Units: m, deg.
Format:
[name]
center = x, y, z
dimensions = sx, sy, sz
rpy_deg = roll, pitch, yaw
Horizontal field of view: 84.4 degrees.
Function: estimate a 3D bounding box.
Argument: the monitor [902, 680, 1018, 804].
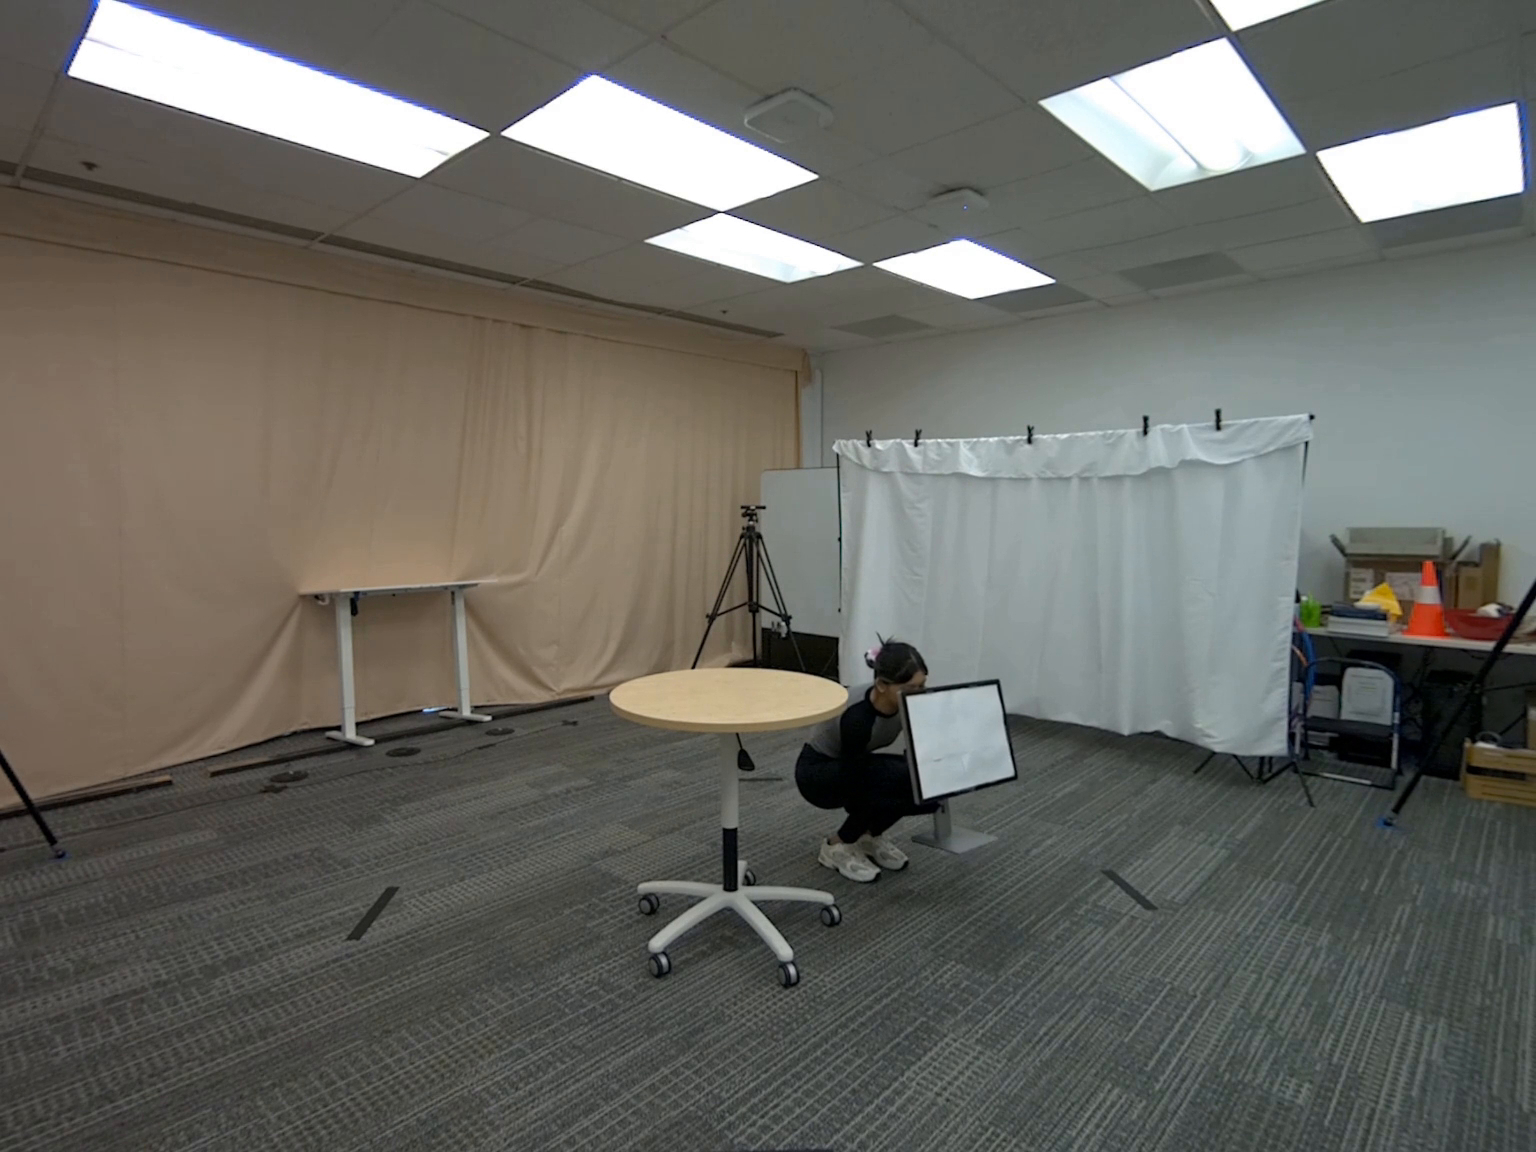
[monitor]
center = 0.651, 0.658, 2.935
dimensions = 0.522, 0.523, 0.193
rpy_deg = 0, 0, -42
